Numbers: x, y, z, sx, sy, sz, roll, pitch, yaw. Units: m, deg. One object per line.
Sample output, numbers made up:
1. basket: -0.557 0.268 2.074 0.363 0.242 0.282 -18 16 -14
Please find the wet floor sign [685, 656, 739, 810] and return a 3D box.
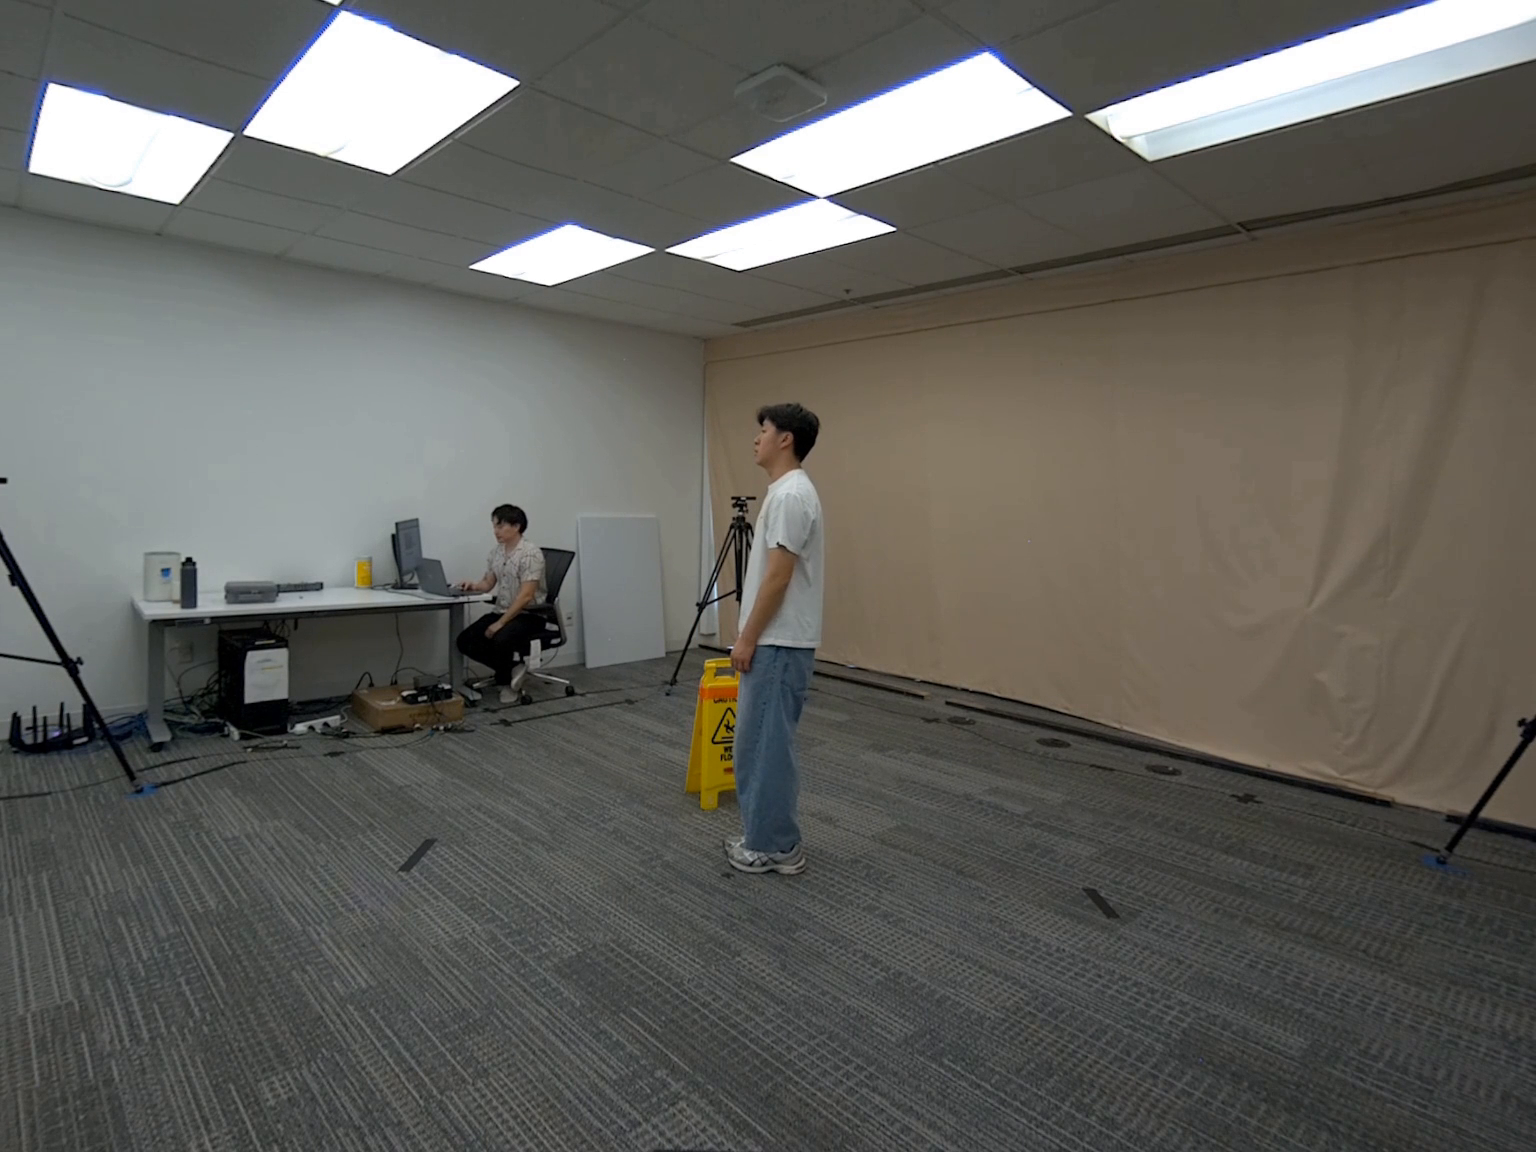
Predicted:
1. wet floor sign: -0.217 0.707 3.907 0.277 0.645 0.295 1 3 -22
